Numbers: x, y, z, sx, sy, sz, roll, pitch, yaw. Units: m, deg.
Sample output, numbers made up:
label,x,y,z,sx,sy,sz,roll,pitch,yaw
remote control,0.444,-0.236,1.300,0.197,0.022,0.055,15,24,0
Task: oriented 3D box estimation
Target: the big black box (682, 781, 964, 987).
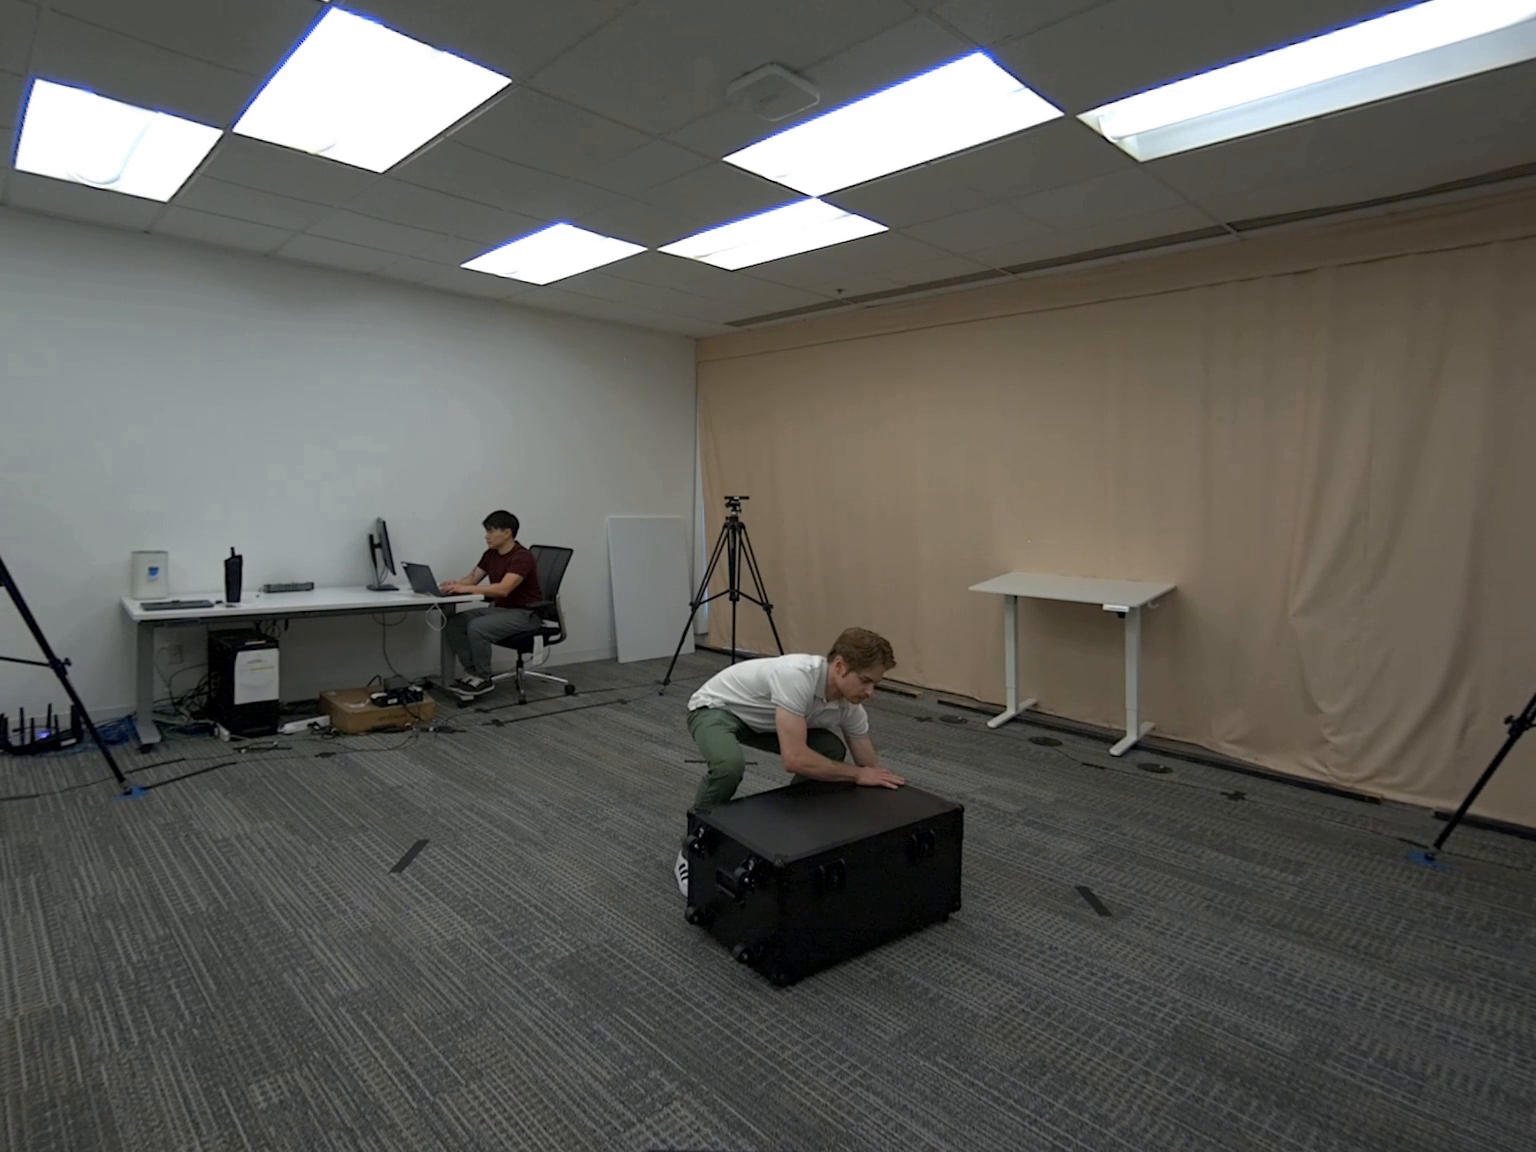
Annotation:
label,x,y,z,sx,sy,sz,roll,pitch,yaw
big black box,0.154,0.943,2.750,0.850,0.383,0.537,-3,8,-35
